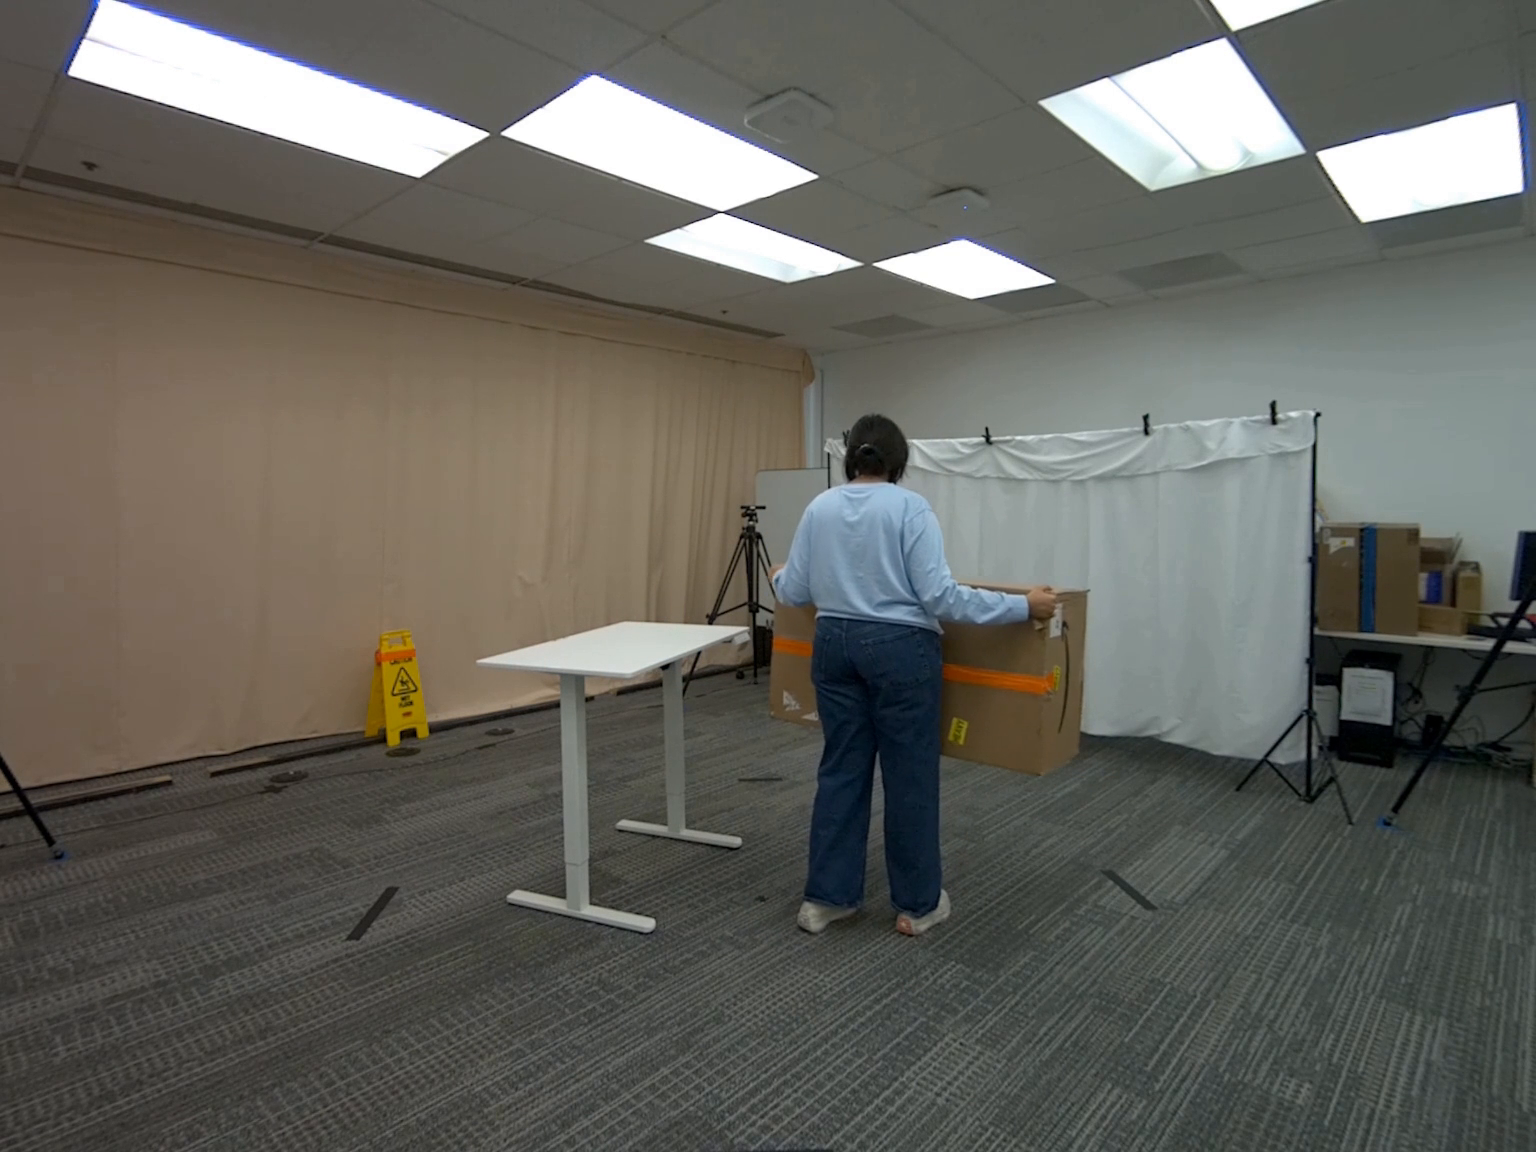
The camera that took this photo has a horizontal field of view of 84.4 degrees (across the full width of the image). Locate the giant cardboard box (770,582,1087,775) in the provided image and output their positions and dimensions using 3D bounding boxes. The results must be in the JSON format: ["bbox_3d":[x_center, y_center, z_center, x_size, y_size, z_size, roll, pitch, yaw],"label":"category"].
[{"bbox_3d":[0.563,0.295,3.071,1.059,0.577,0.413,5,3,37],"label":"giant cardboard box"}]
